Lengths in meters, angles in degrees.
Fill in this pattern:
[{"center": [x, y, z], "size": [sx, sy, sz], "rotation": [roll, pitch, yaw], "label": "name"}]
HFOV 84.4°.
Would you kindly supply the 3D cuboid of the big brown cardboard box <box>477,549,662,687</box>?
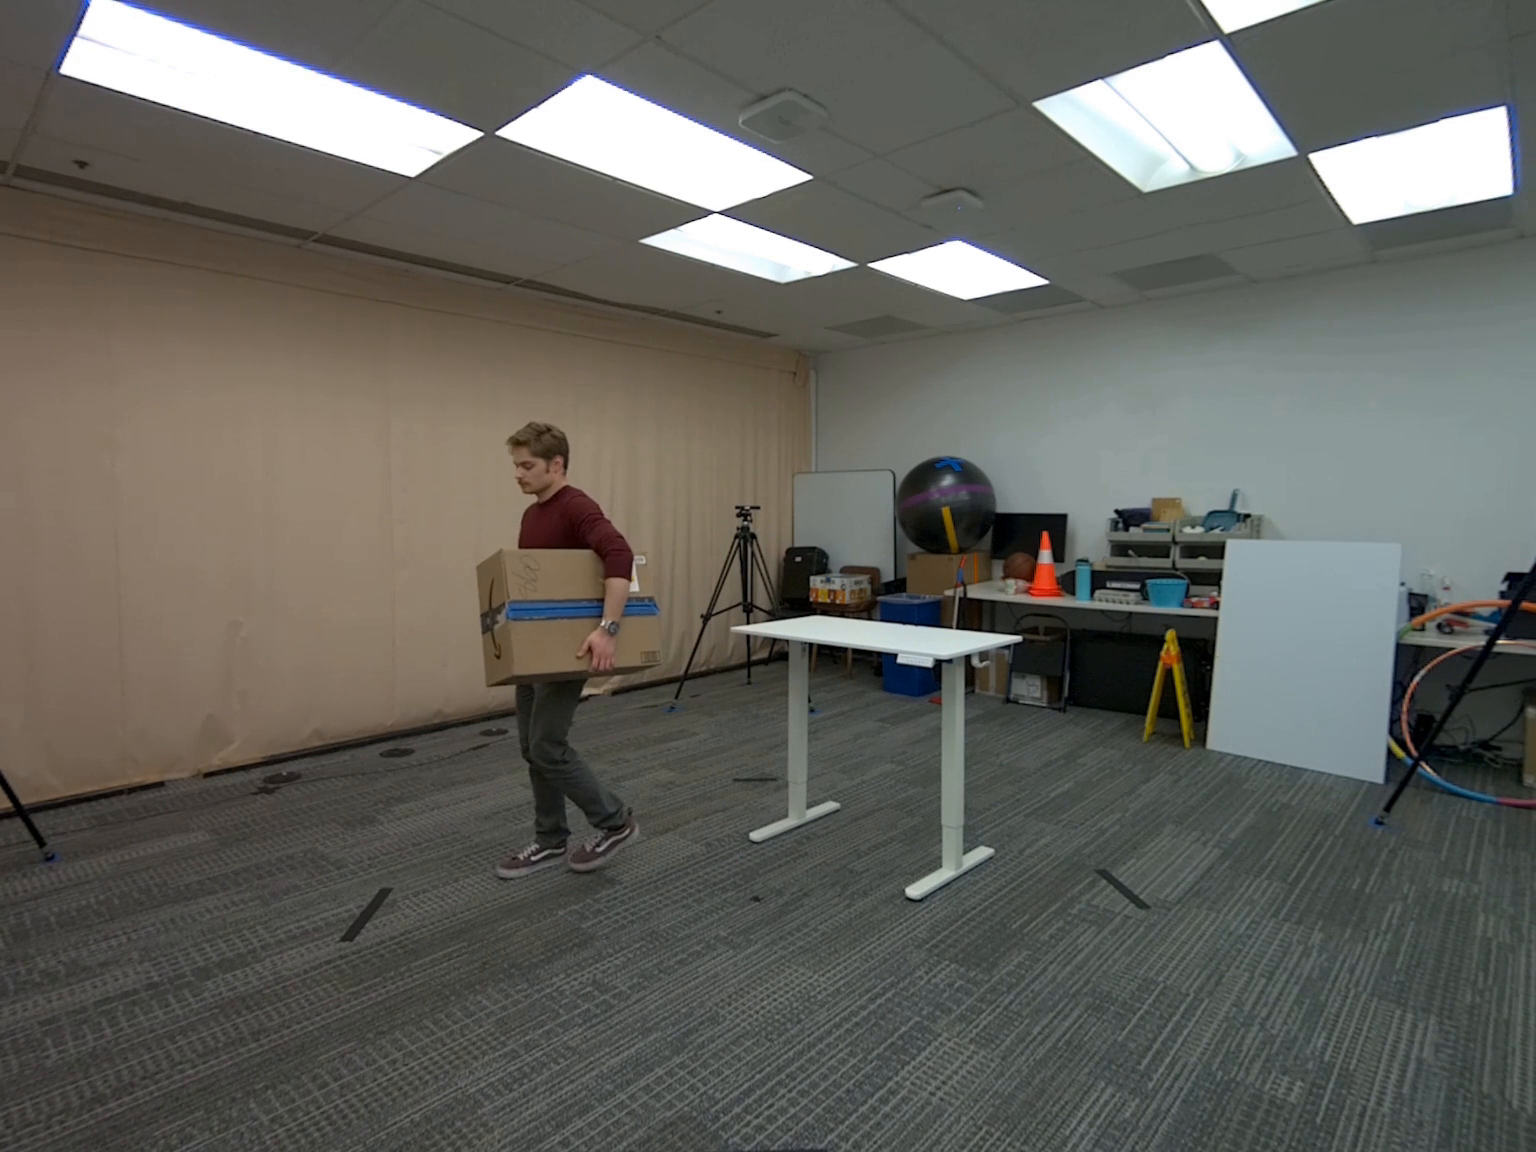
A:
[{"center": [-0.672, 0.142, 2.905], "size": [0.571, 0.422, 0.238], "rotation": [-1, -16, -39], "label": "big brown cardboard box"}]
